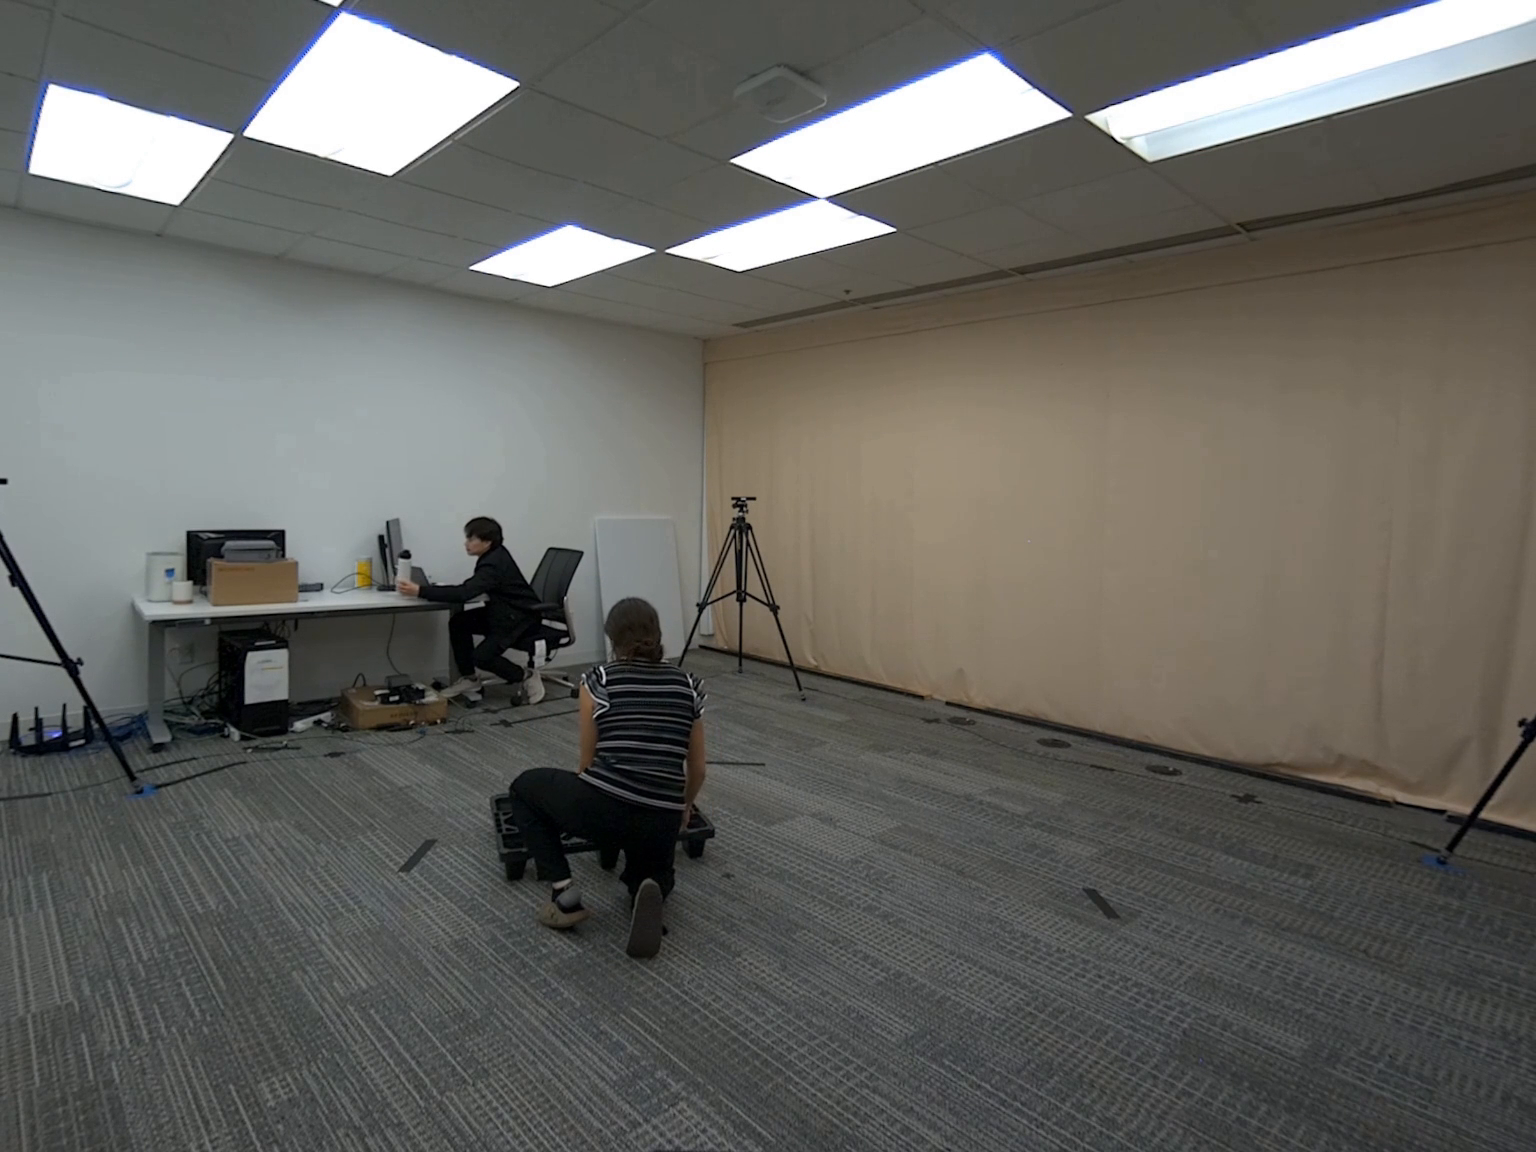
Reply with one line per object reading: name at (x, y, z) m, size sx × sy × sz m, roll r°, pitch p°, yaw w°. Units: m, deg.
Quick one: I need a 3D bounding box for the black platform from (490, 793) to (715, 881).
black platform at (-0.688, 1.008, 3.358) m, size 0.793 × 0.143 × 0.616 m, roll 0°, pitch 4°, yaw -20°
